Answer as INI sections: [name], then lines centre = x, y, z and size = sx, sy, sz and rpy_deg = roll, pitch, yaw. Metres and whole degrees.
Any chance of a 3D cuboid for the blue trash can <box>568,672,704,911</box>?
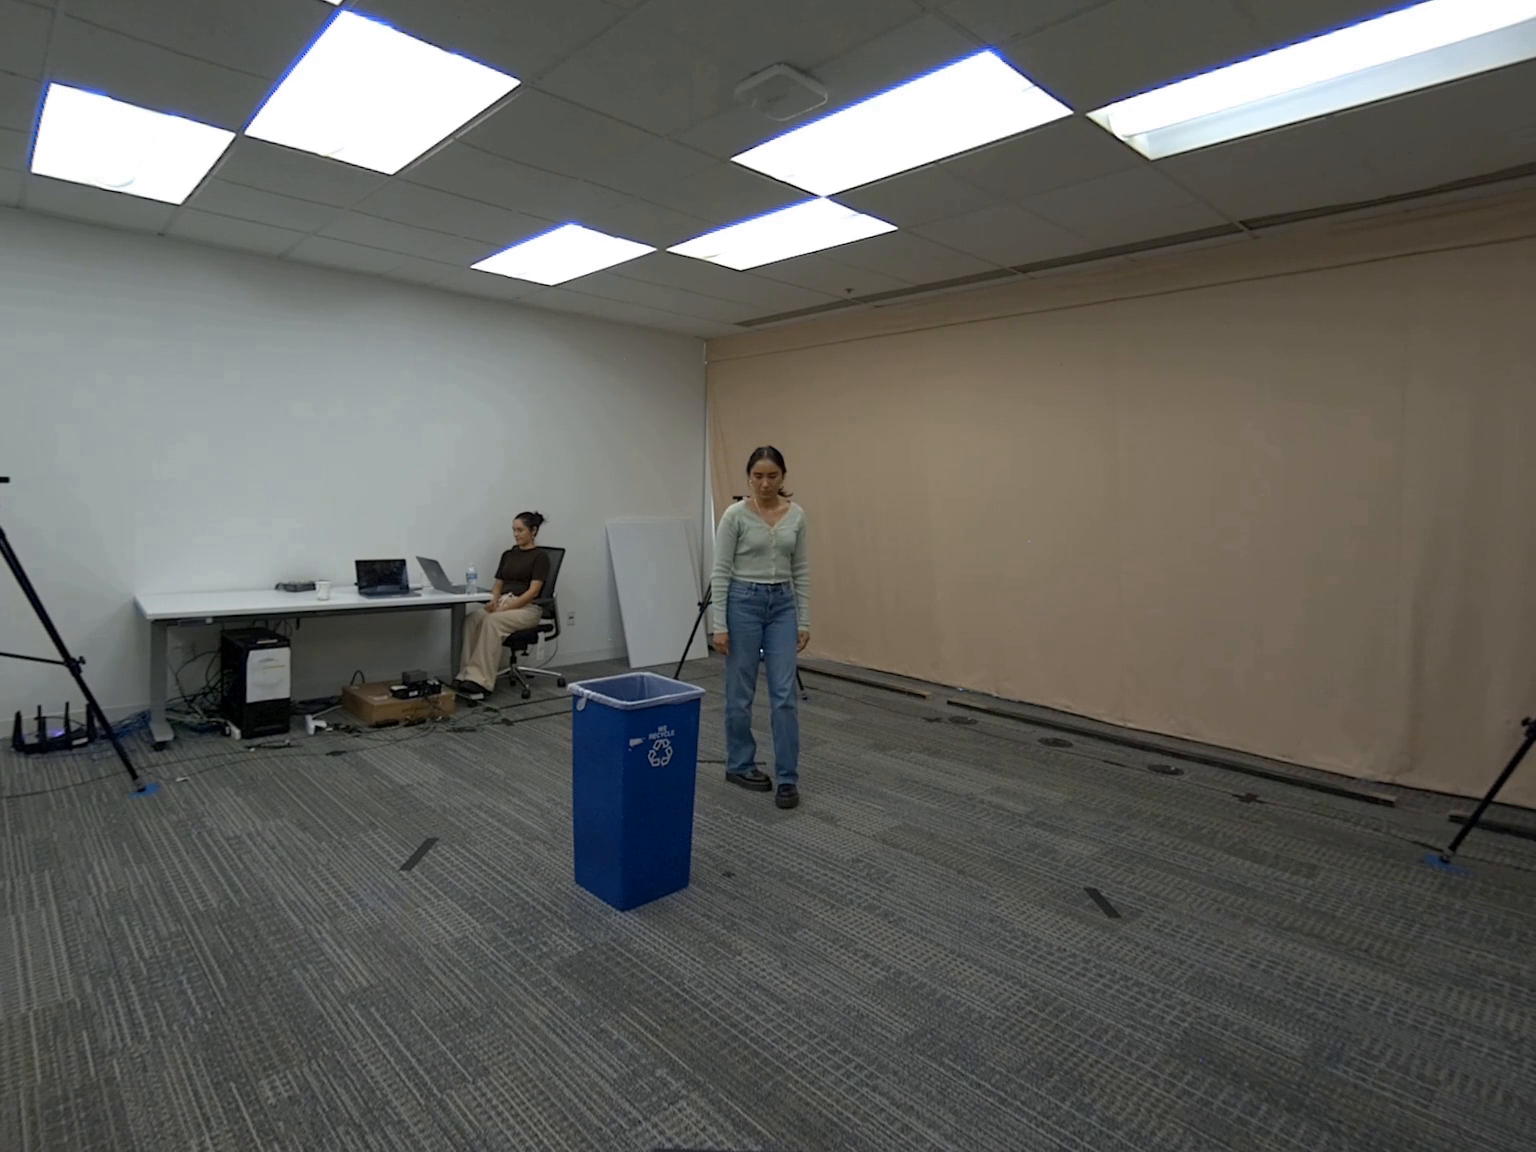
[blue trash can]
centre = -0.484, 0.748, 3.000
size = 0.365, 0.712, 0.388
rpy_deg = -2, 5, -45
